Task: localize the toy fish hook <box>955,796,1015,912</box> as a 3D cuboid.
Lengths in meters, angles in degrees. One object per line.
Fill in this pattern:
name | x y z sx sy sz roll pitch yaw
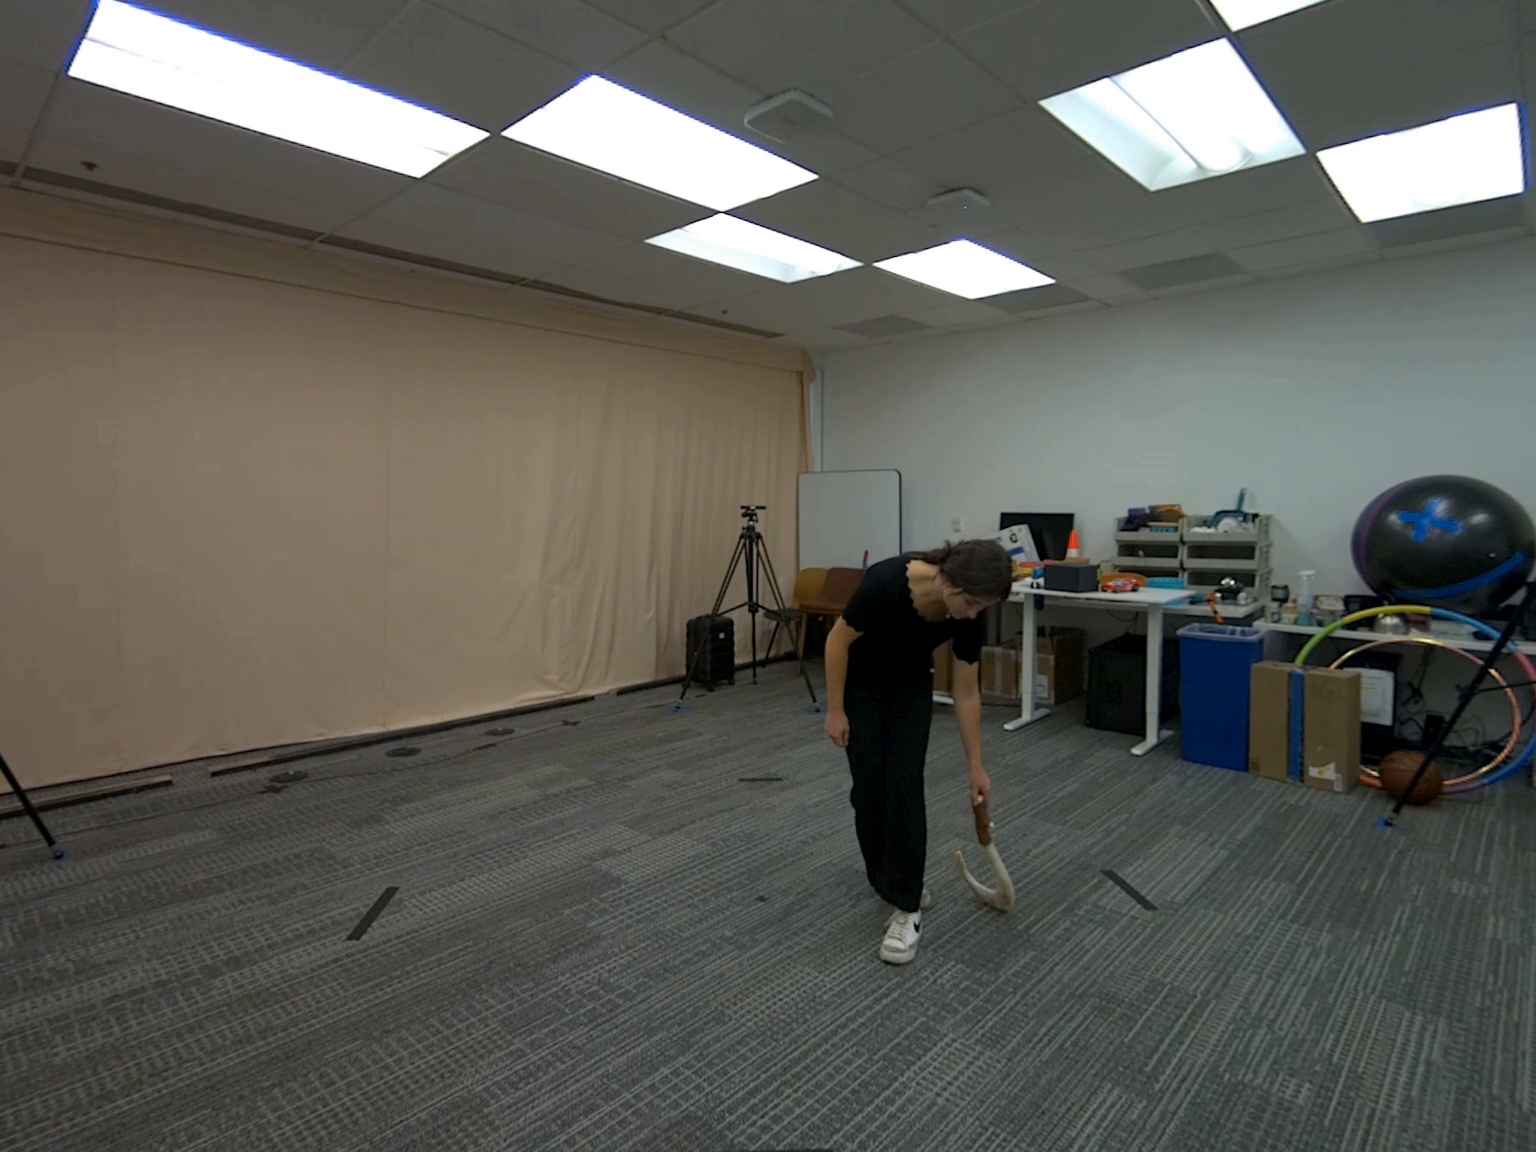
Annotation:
toy fish hook | 0.711 0.927 2.841 0.047 0.497 0.232 -33 26 -35
